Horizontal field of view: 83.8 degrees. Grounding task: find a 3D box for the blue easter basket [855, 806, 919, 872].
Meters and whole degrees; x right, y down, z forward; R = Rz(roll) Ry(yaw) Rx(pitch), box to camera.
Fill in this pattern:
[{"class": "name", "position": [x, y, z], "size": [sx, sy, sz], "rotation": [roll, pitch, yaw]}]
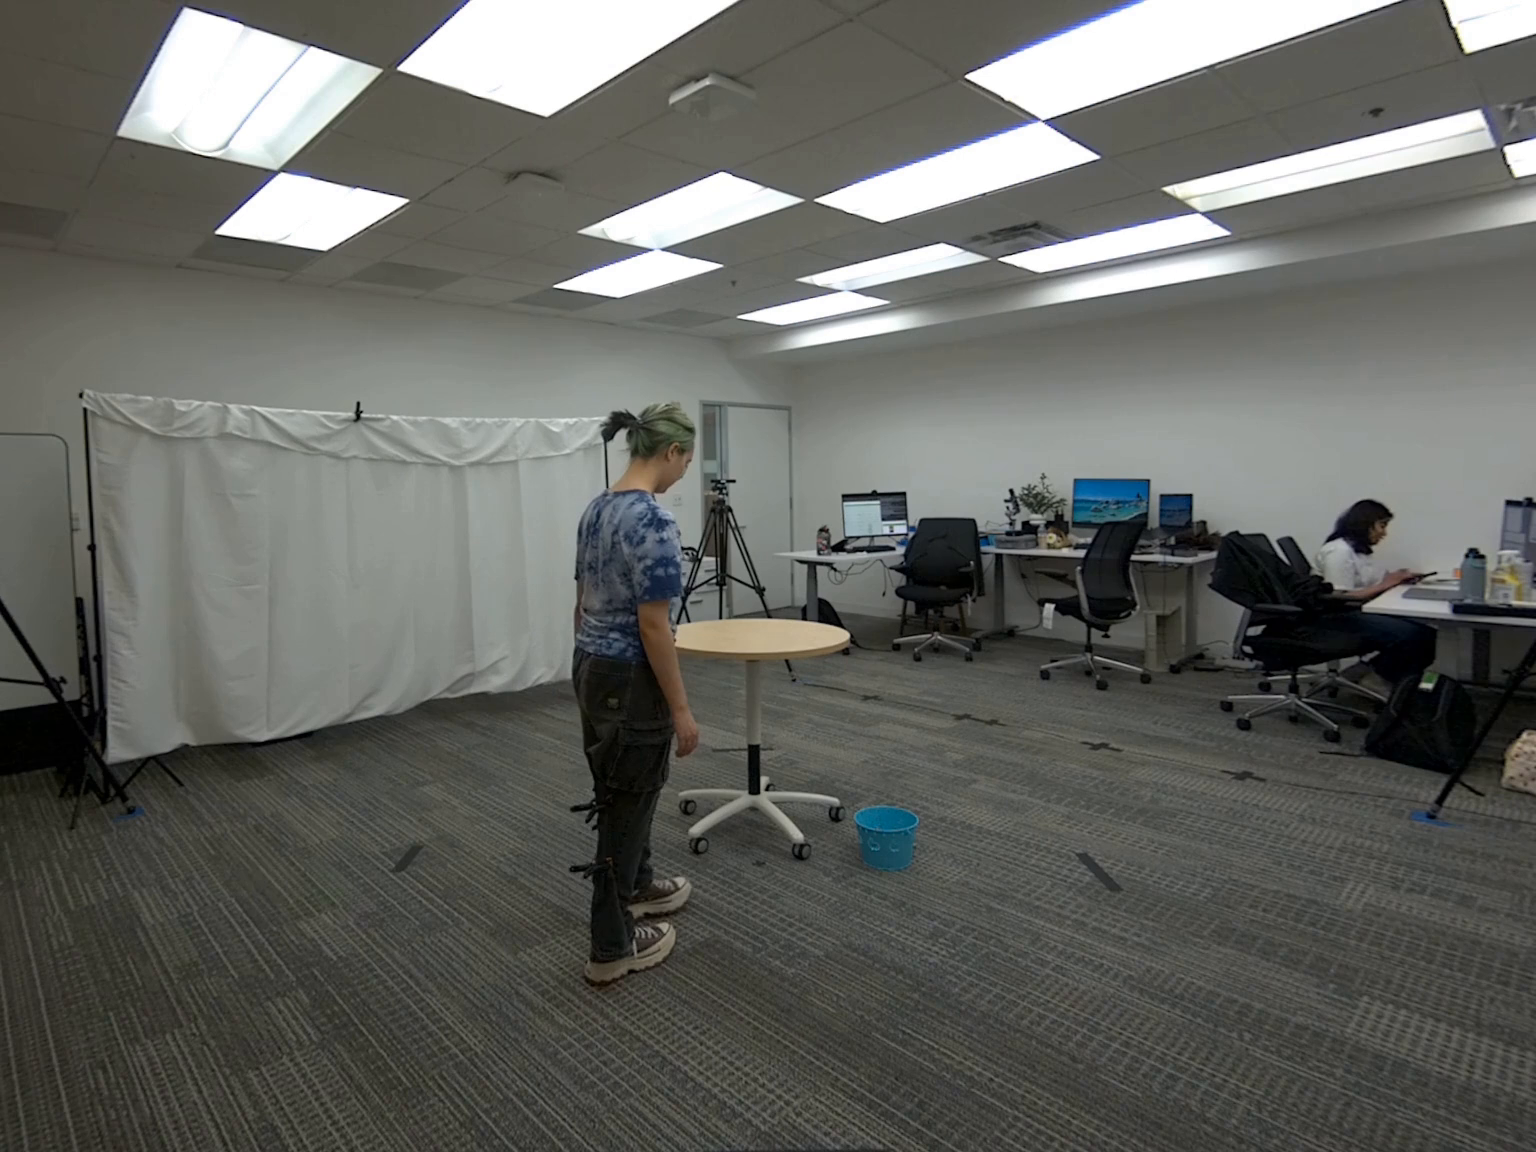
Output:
[{"class": "blue easter basket", "position": [0.443, 0.958, 3.120], "size": [0.243, 0.155, 0.245], "rotation": [-2, 5, -2]}]
